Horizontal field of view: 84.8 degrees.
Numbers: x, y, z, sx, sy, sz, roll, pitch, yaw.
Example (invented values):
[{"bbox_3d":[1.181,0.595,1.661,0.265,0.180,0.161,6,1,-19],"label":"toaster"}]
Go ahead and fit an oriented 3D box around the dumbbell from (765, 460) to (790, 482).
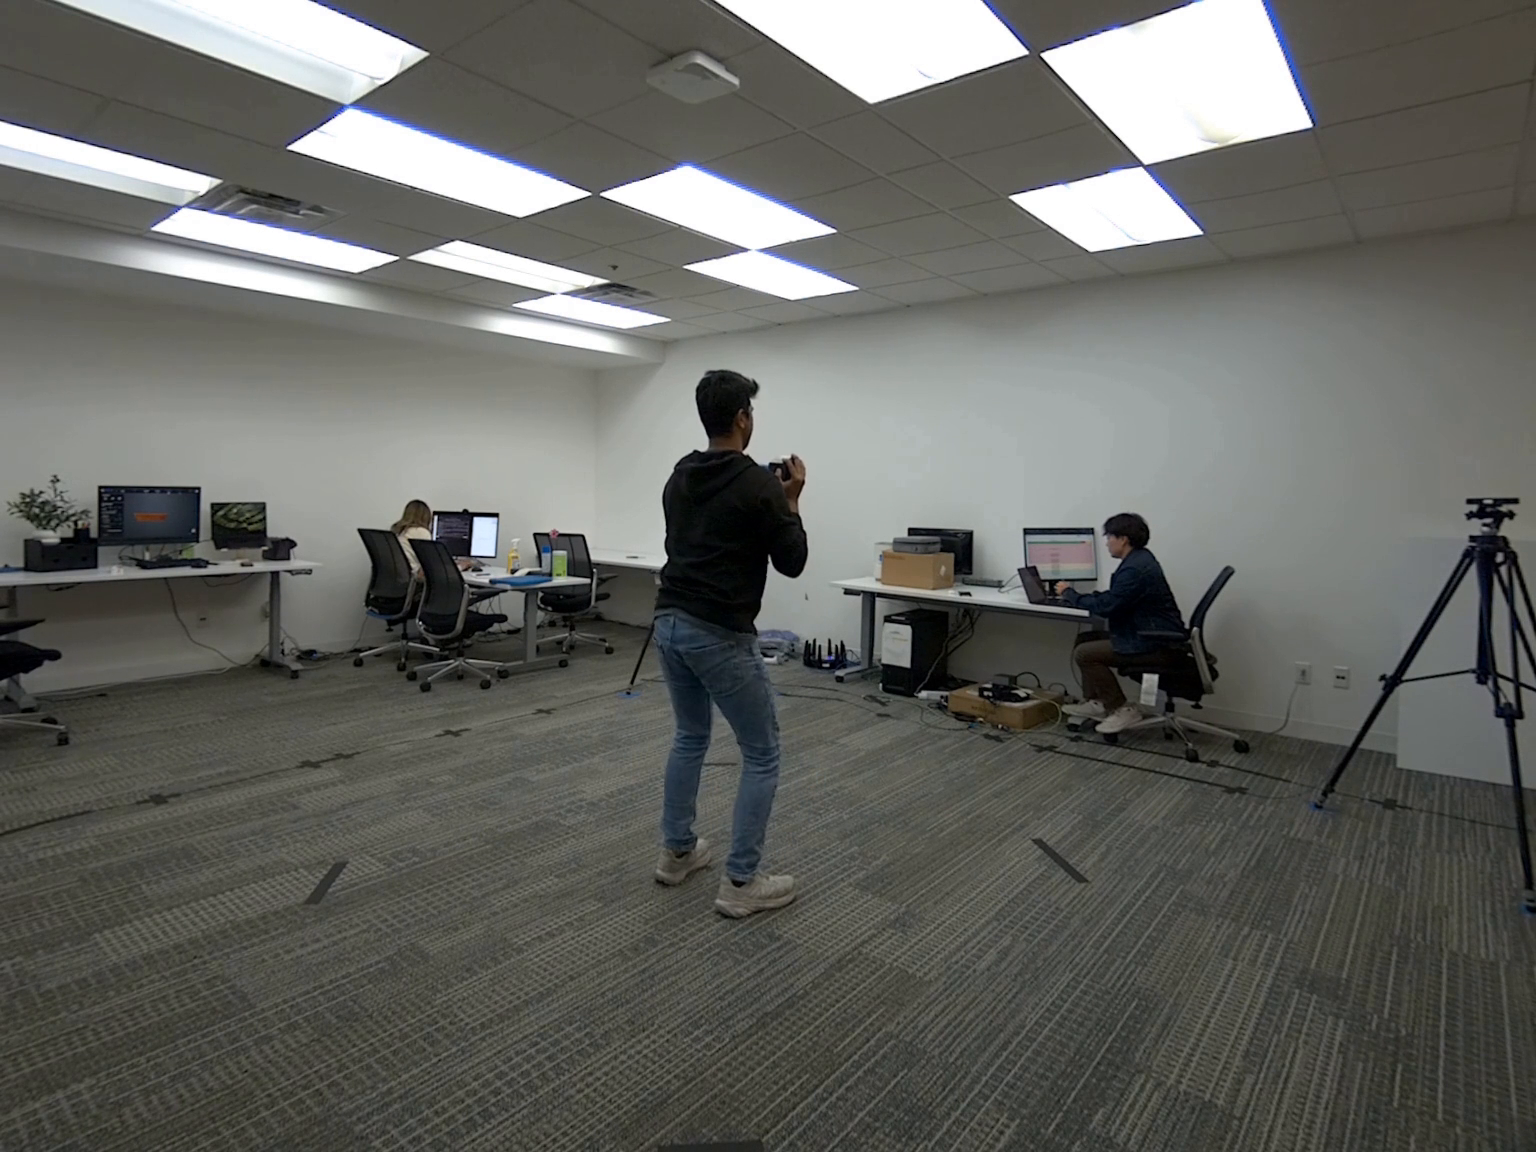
[{"bbox_3d":[-0.037,-0.364,3.065,0.304,0.122,0.105,10,6,44],"label":"dumbbell"}]
